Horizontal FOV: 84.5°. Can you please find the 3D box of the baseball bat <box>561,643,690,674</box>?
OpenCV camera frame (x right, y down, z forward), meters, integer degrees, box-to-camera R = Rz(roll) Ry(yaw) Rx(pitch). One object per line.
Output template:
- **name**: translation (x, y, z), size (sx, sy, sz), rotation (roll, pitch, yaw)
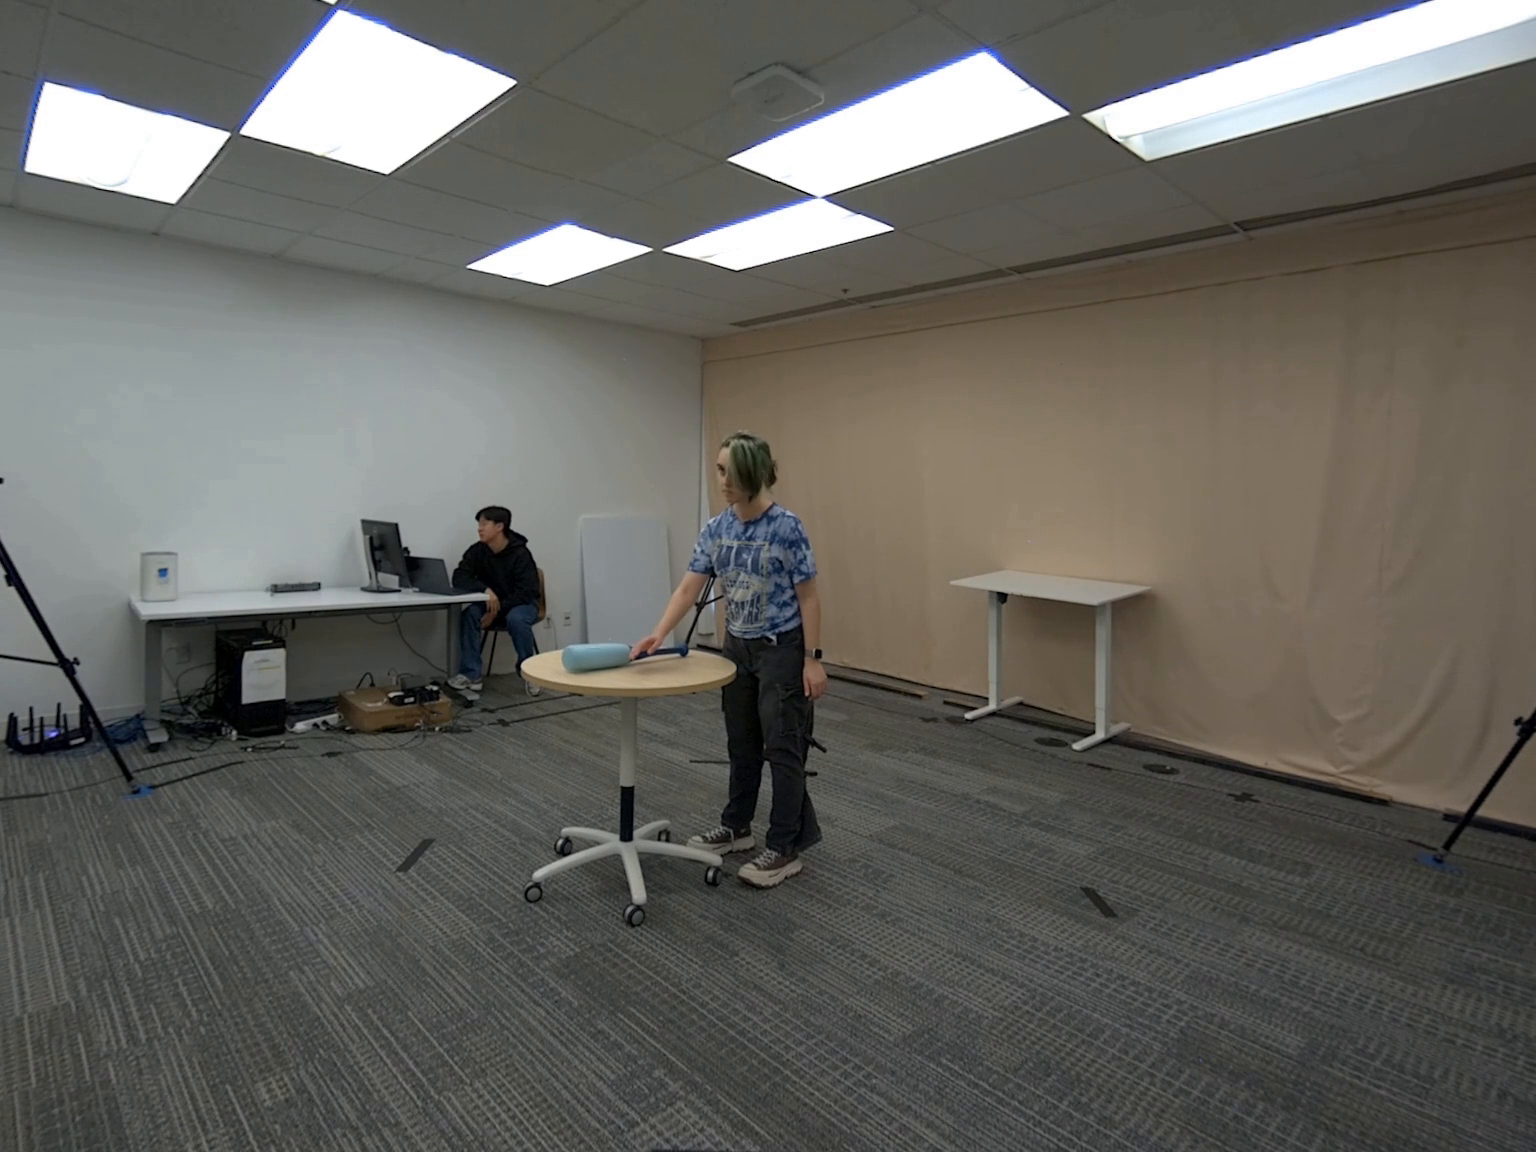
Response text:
- **baseball bat**: translation (-0.504, 0.286, 3.026), size (0.091, 0.089, 0.529), rotation (5, 2, 43)
